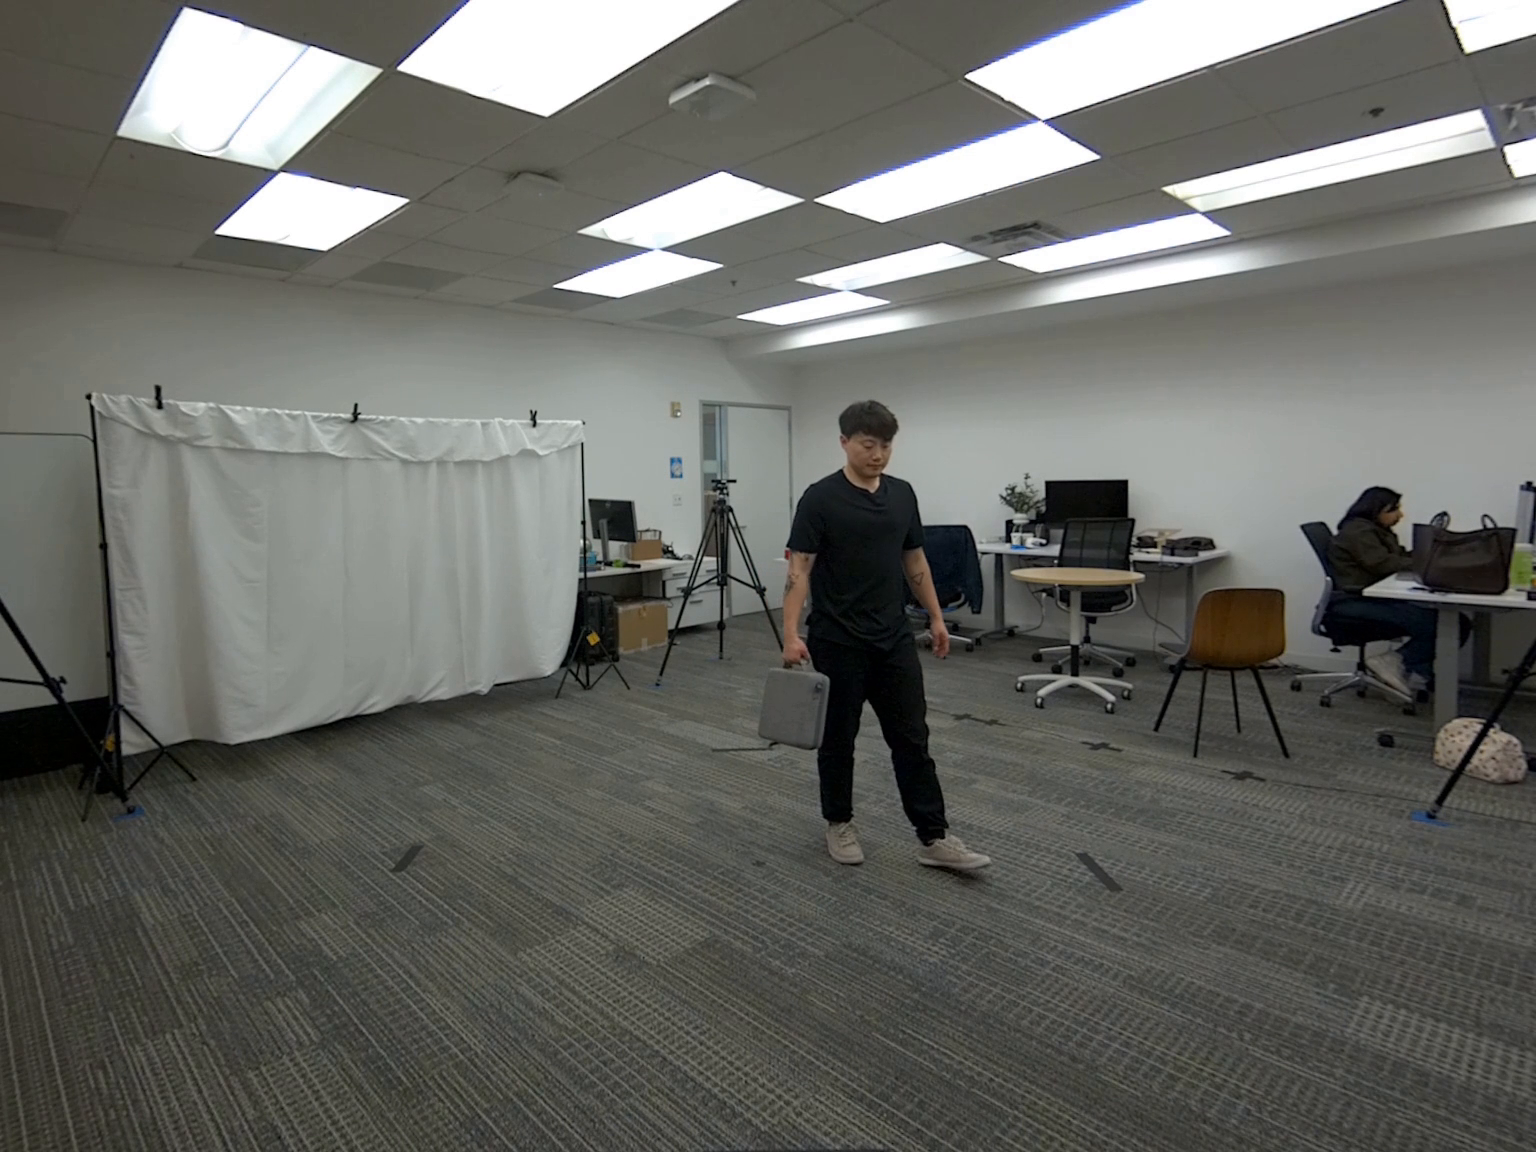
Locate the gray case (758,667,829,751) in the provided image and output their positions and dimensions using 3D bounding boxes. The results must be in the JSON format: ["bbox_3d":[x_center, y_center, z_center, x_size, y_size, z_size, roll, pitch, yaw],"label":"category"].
[{"bbox_3d":[0.093,0.444,2.926,0.101,0.262,0.263,13,-8,-31],"label":"gray case"}]
